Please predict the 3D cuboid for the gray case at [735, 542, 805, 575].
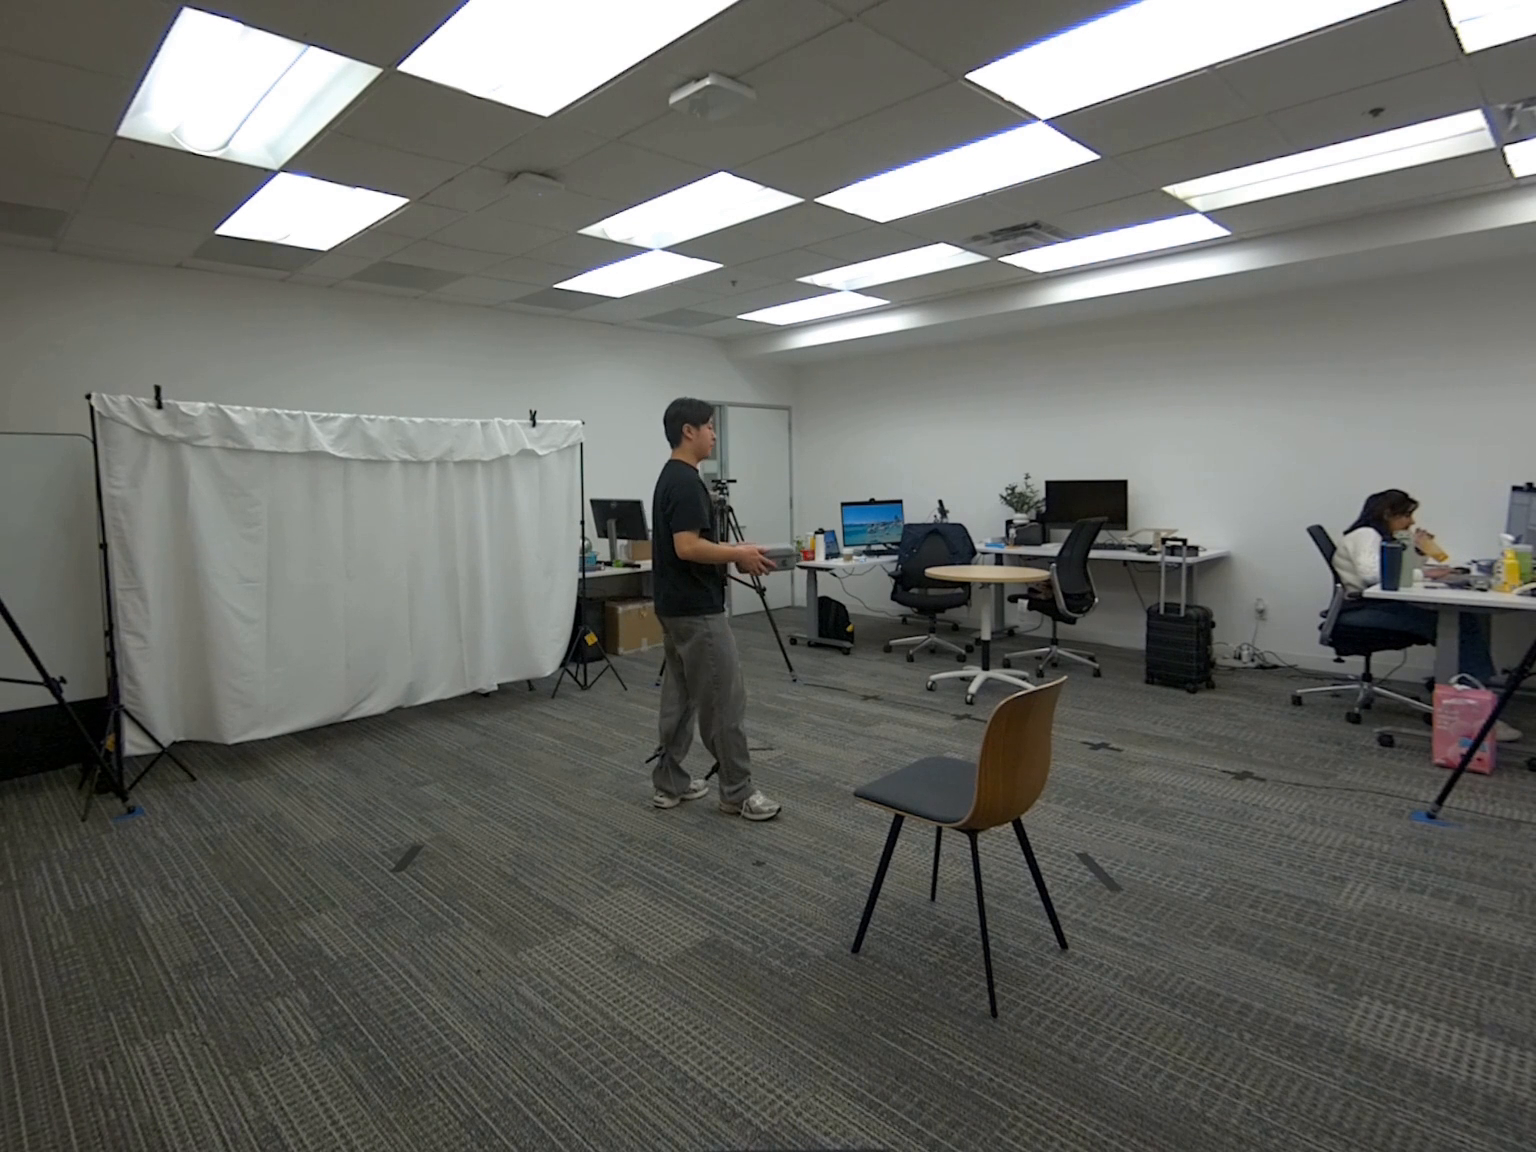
[{"bbox_3d":[-0.001,-0.080,3.676,0.287,0.103,0.264,-4,5,0],"label":"gray case"}]
